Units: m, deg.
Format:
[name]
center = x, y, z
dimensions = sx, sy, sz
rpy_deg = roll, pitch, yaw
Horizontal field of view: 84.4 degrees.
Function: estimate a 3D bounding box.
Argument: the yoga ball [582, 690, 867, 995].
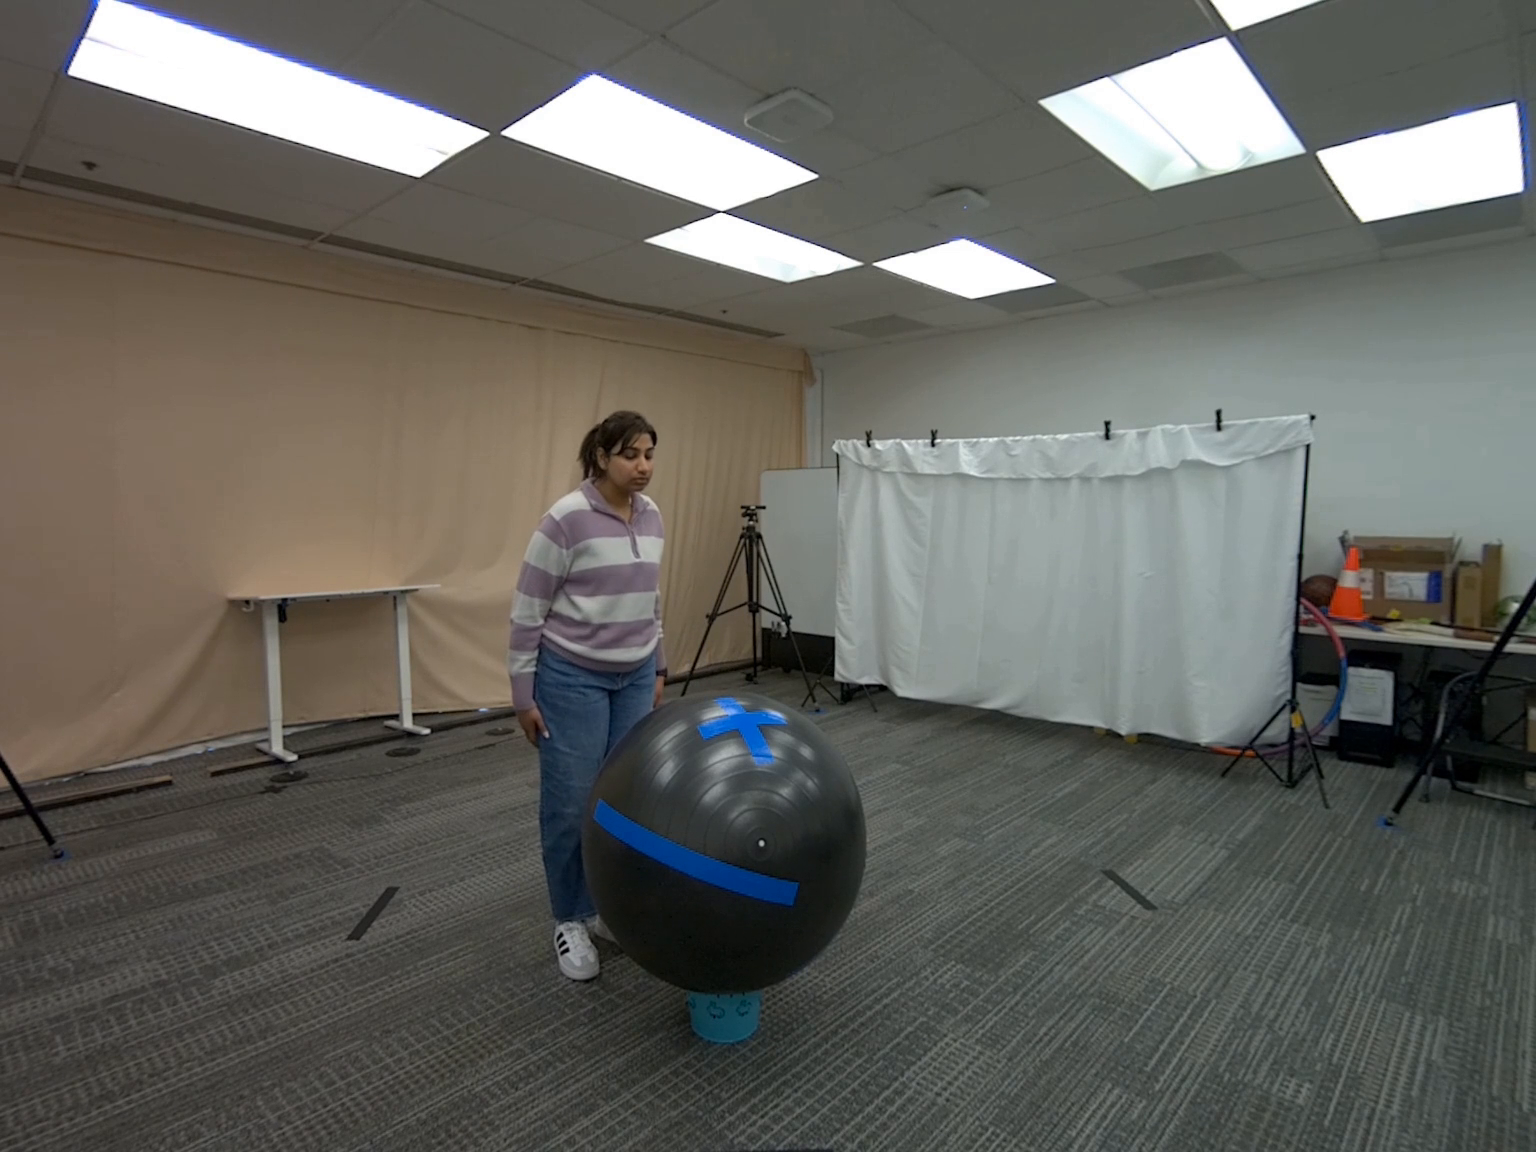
[yoga ball]
center = -0.109, 0.700, 2.245
dimensions = 0.757, 0.756, 0.761
rpy_deg = 0, 4, -2
